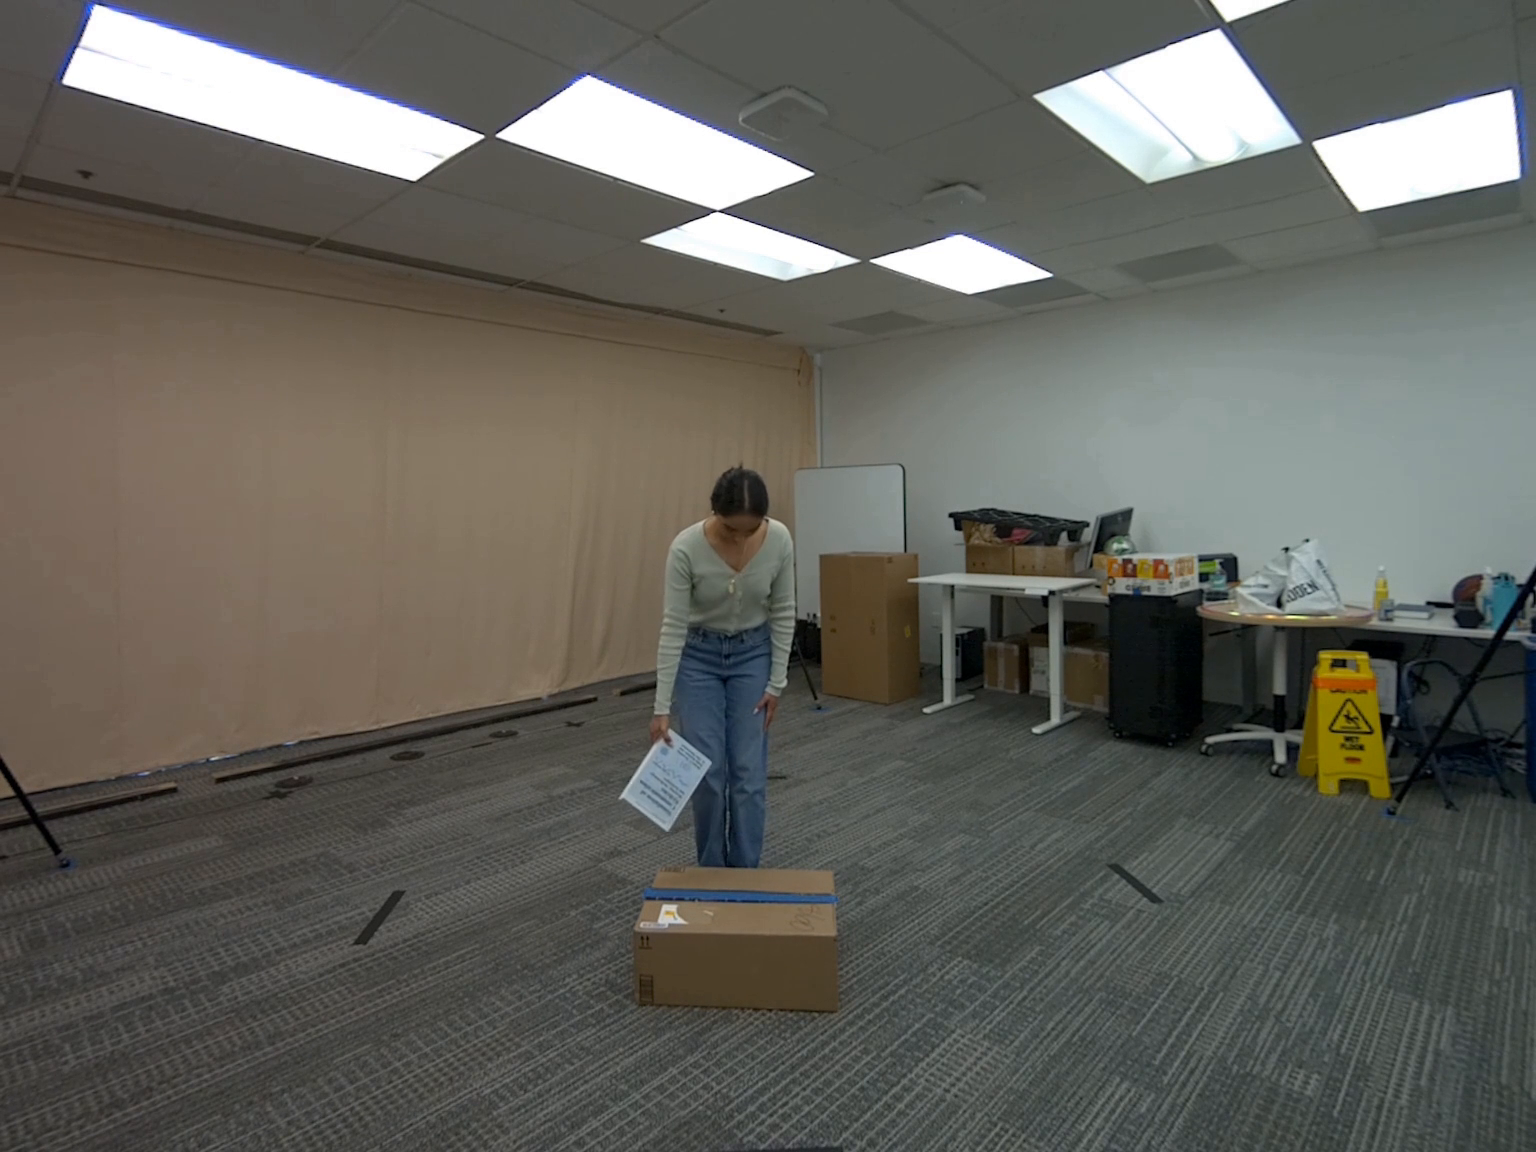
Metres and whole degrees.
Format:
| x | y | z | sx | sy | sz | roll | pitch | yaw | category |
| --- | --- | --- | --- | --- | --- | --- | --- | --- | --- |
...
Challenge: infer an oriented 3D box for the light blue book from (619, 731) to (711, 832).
| x | y | z | sx | sy | sz | roll | pitch | yaw | category |
| --- | --- | --- | --- | --- | --- | --- | --- | --- | --- |
| -0.325 | 0.655 | 2.707 | 0.189 | 0.260 | 0.060 | 38 | -23 | -9 | light blue book |
